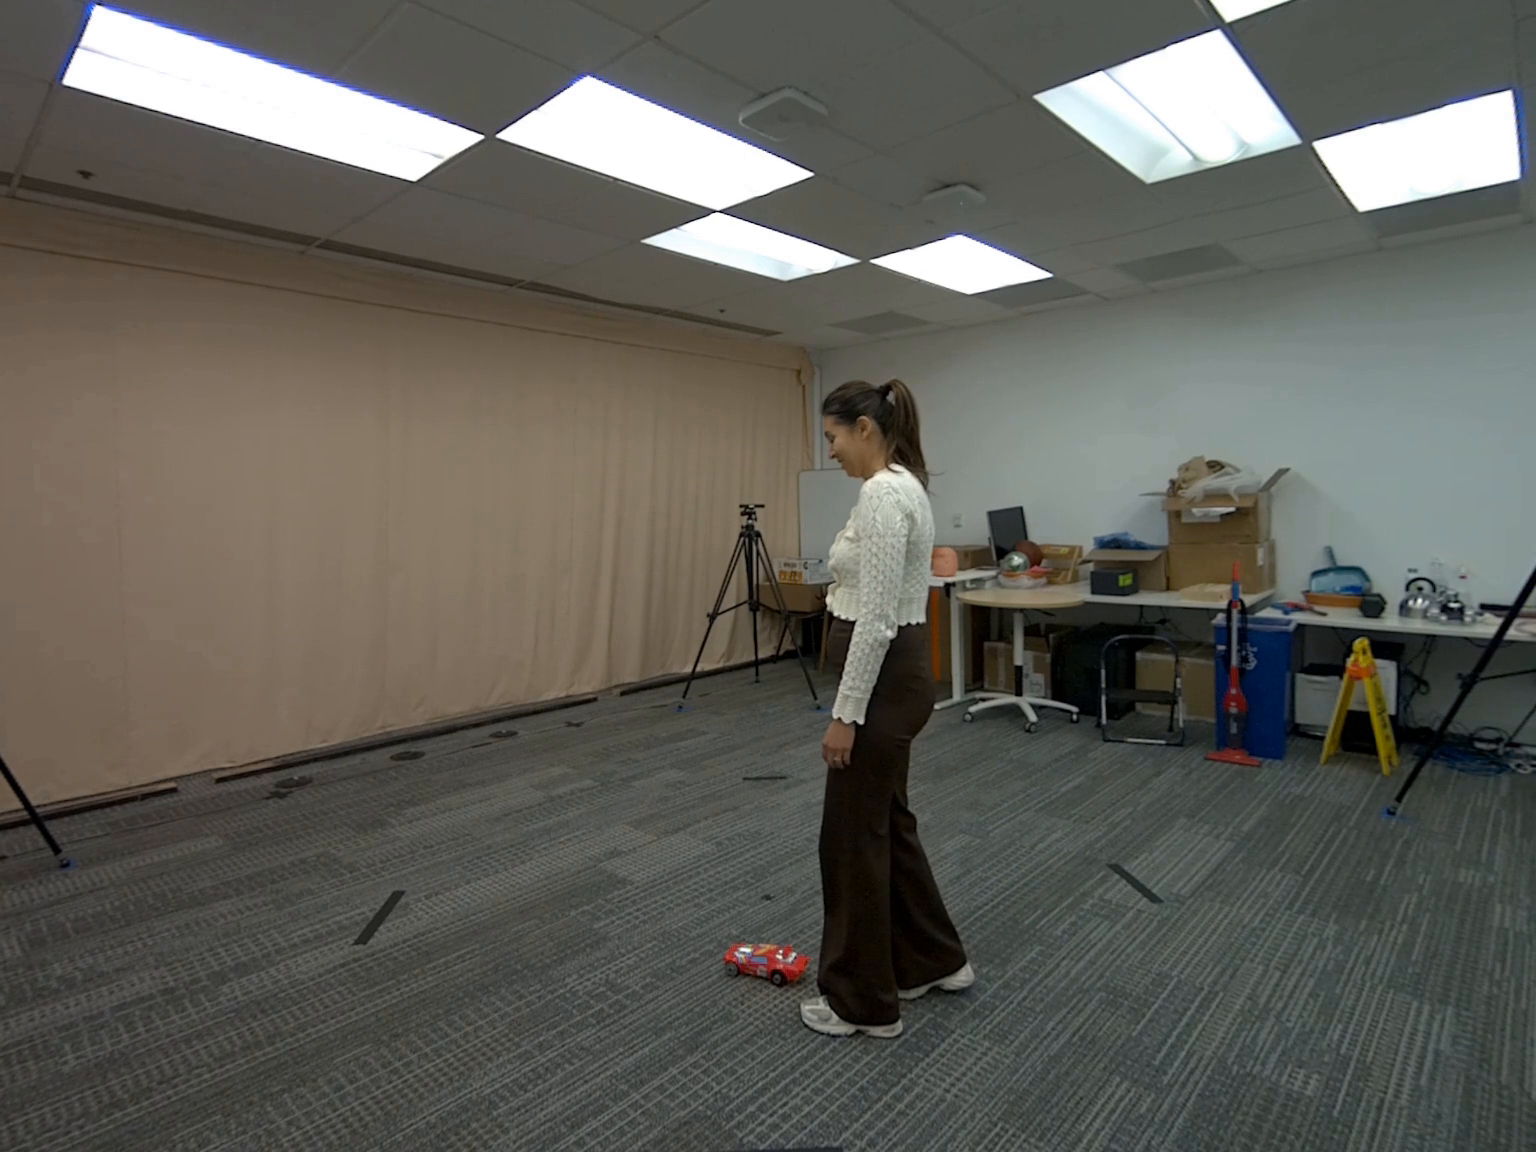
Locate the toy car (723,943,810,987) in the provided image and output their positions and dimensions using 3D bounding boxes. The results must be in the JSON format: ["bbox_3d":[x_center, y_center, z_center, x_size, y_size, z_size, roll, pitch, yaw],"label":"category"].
[{"bbox_3d":[0.004,1.150,2.498,0.260,0.083,0.127,-11,0,24],"label":"toy car"}]
